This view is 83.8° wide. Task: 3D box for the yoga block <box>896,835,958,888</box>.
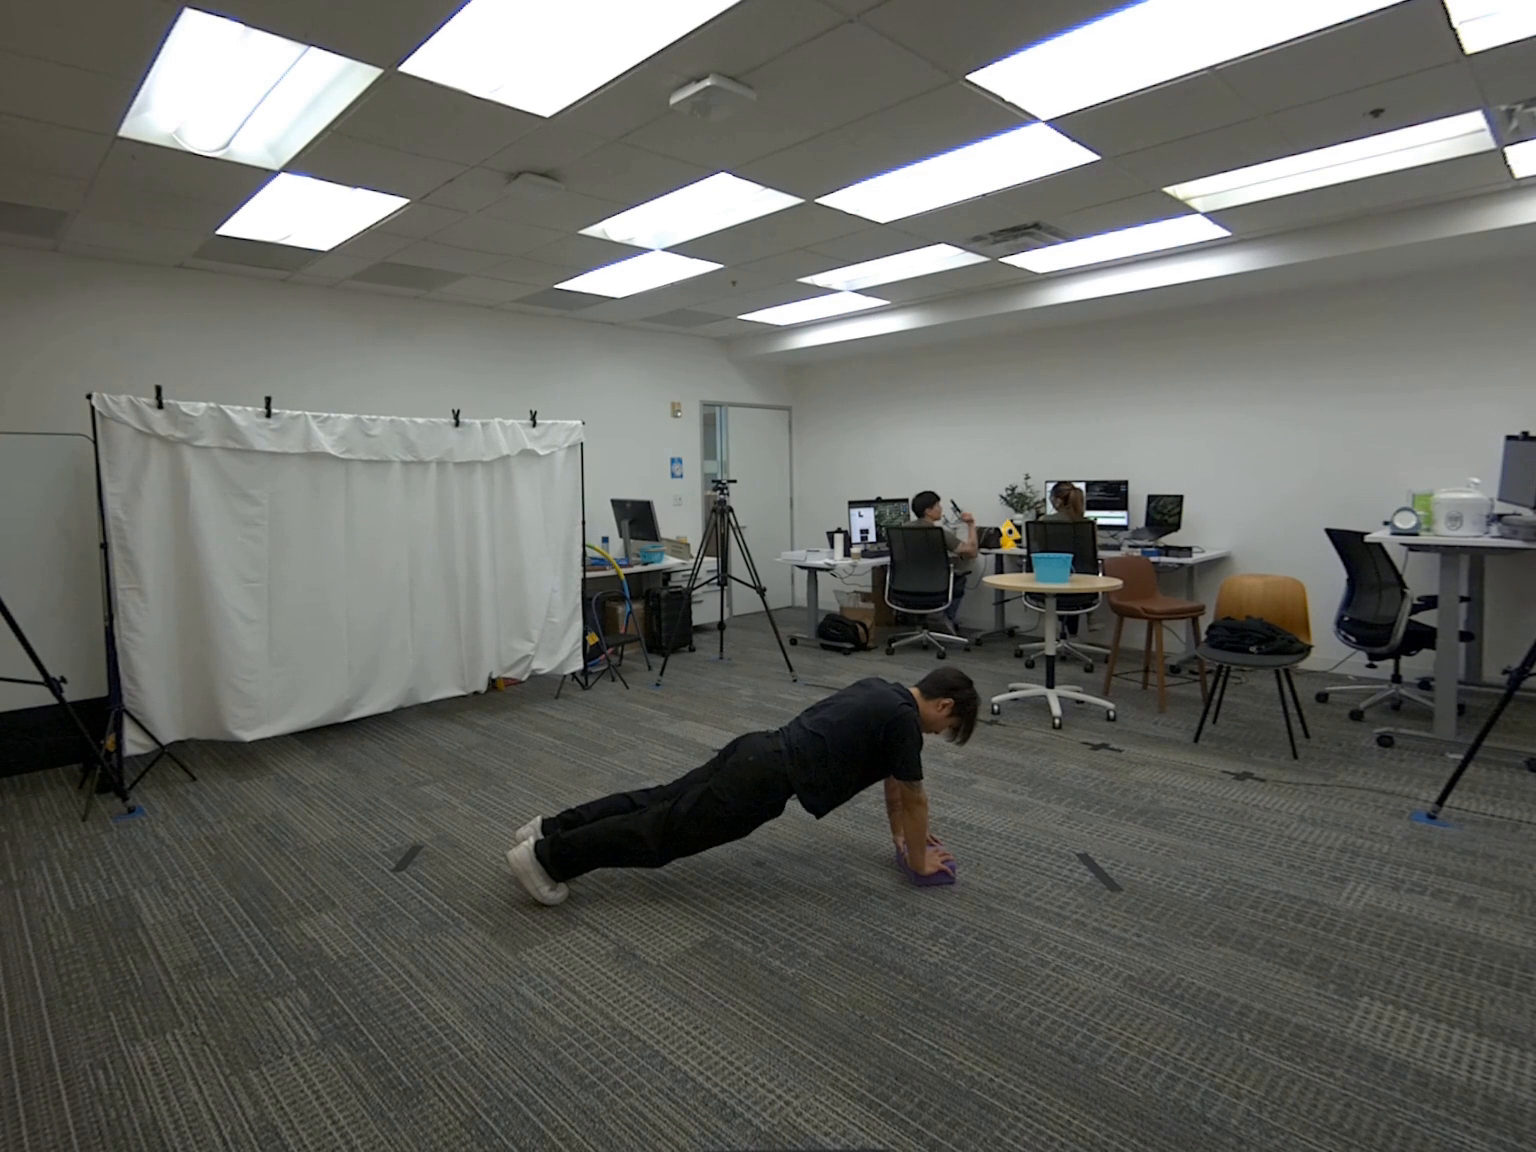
[{"bbox_3d":[0.556,1.004,3.026,0.148,0.076,0.231,-2,4,-8],"label":"yoga block"}]
